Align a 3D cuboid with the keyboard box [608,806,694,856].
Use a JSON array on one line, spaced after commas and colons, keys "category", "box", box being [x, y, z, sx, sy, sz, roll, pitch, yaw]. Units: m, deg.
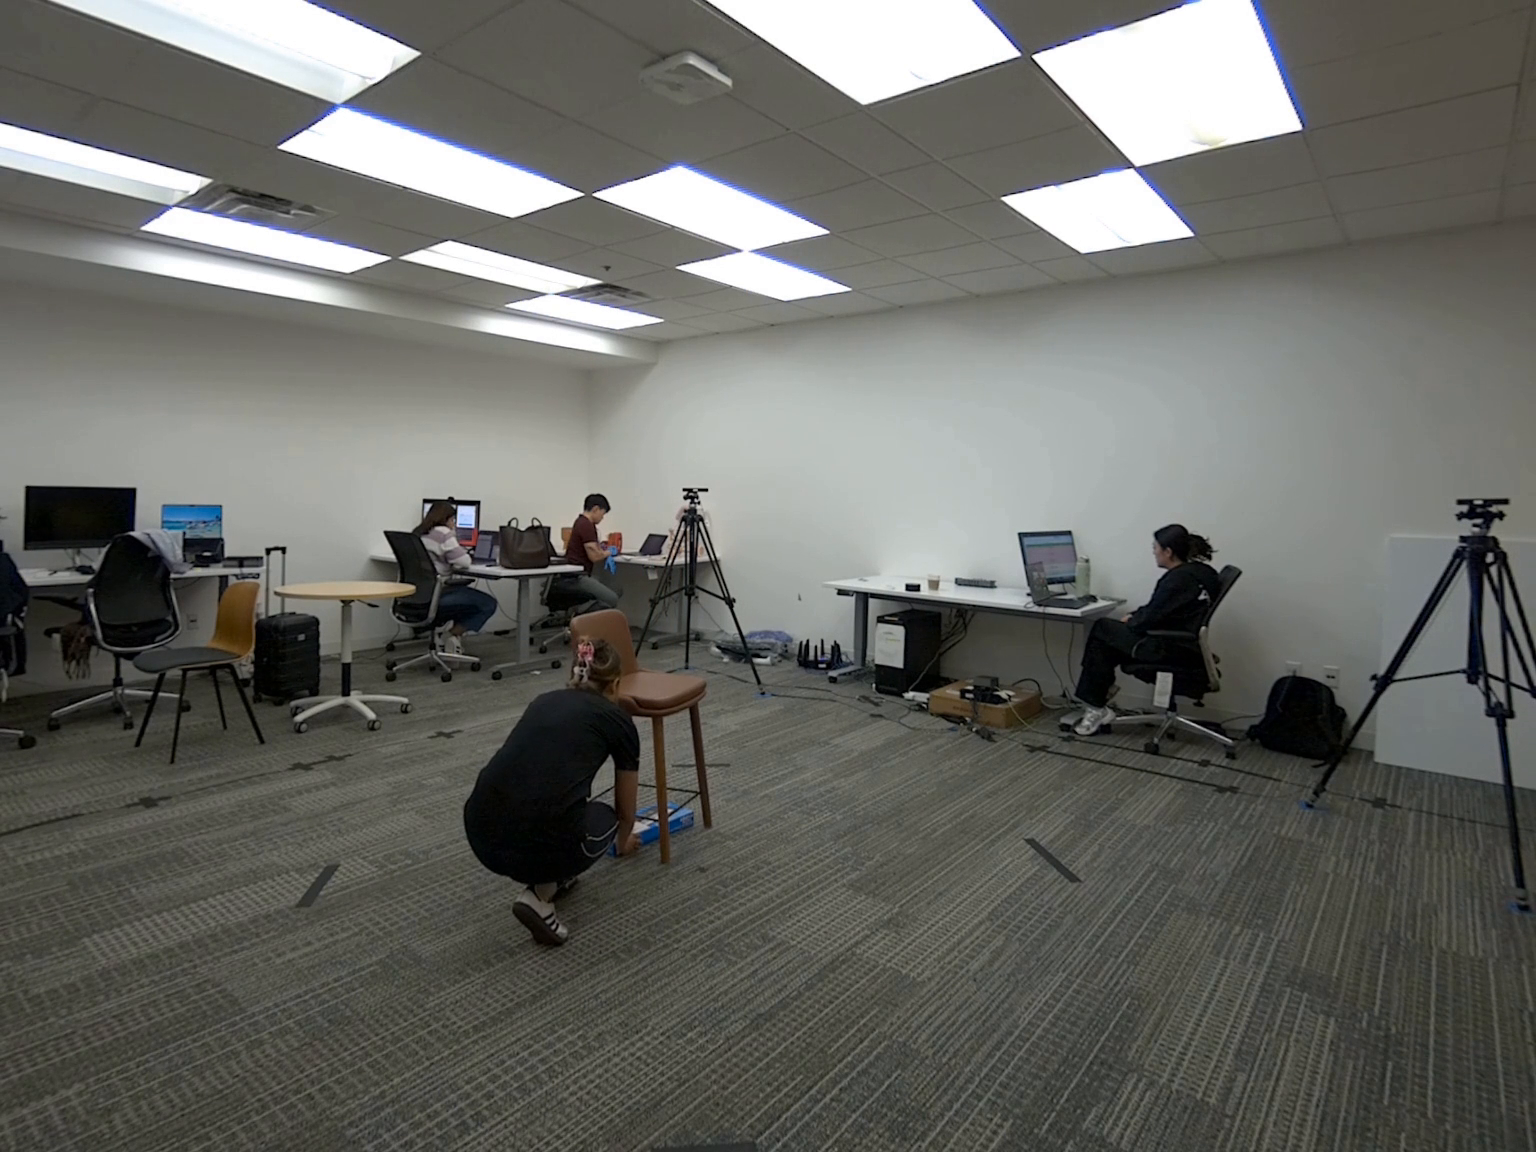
[{"category": "keyboard box", "box": [-0.515, 1.011, 3.412, 0.182, 0.059, 0.424, 5, 7, 39]}]
